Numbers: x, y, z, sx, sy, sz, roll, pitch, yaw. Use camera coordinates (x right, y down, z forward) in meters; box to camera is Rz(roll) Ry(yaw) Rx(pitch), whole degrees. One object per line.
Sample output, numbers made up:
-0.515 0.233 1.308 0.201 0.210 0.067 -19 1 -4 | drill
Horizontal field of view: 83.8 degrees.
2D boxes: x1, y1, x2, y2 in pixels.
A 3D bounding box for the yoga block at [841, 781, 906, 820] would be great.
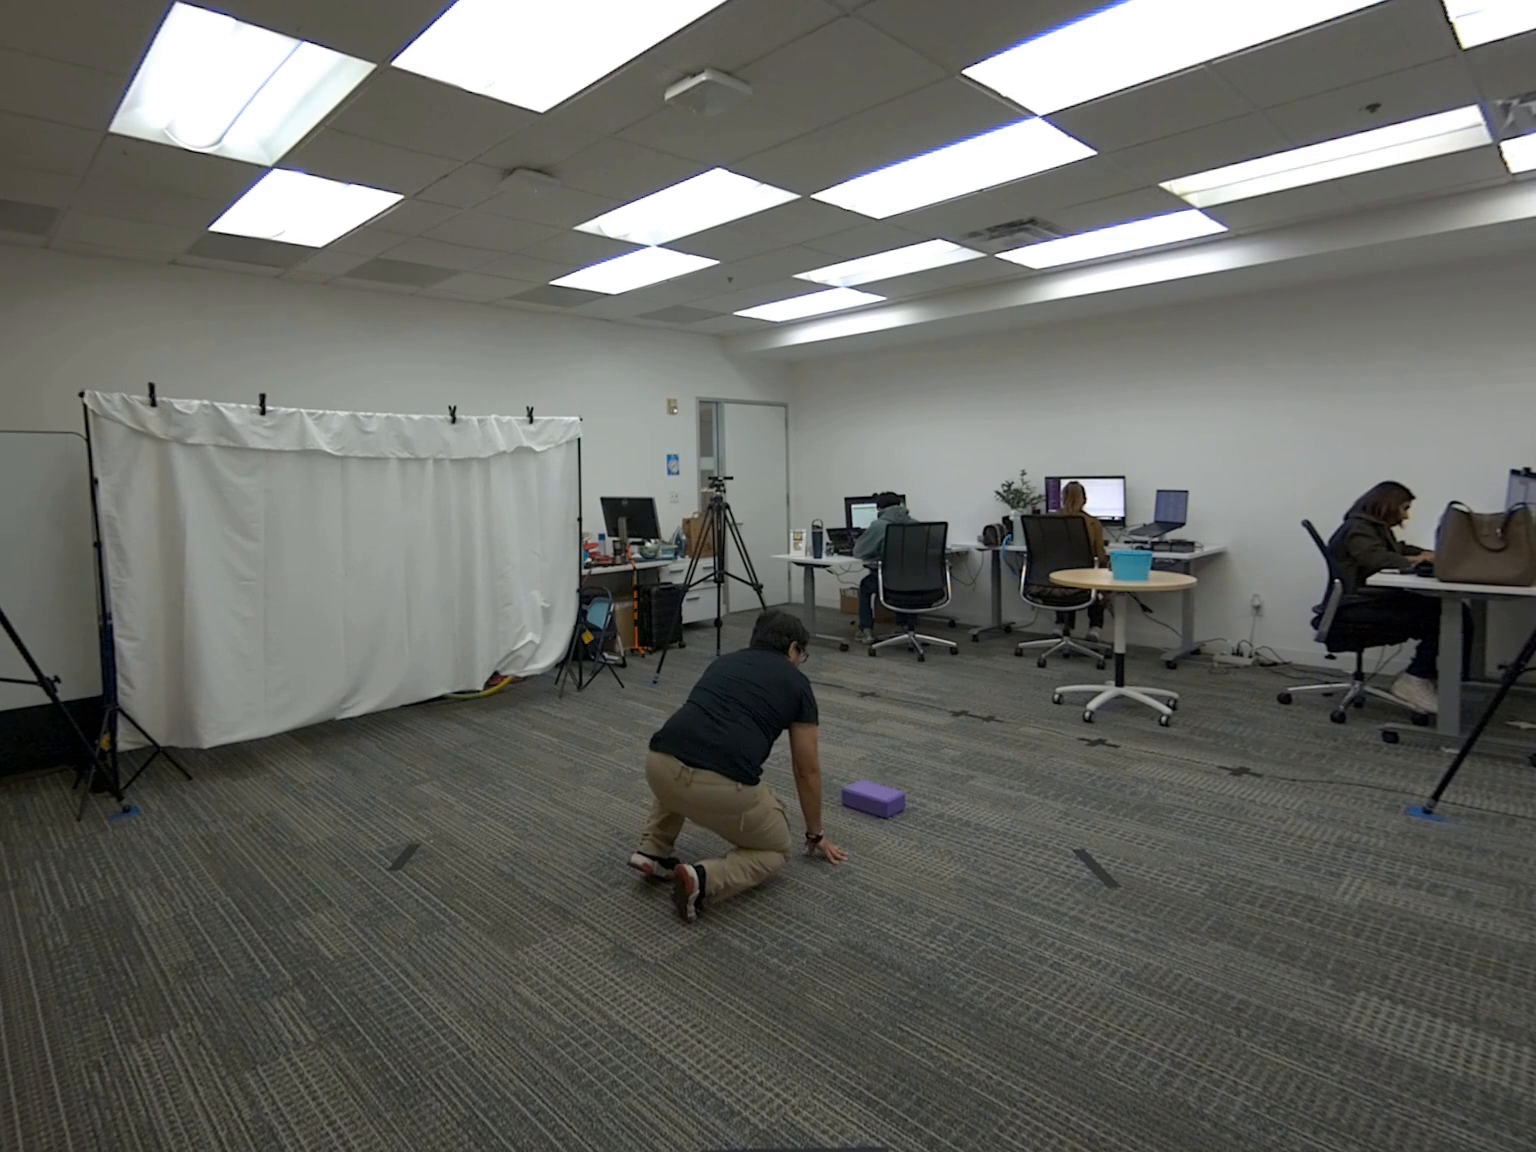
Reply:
0.443 0.933 3.586 0.236 0.076 0.145 6 9 44 | yoga block
